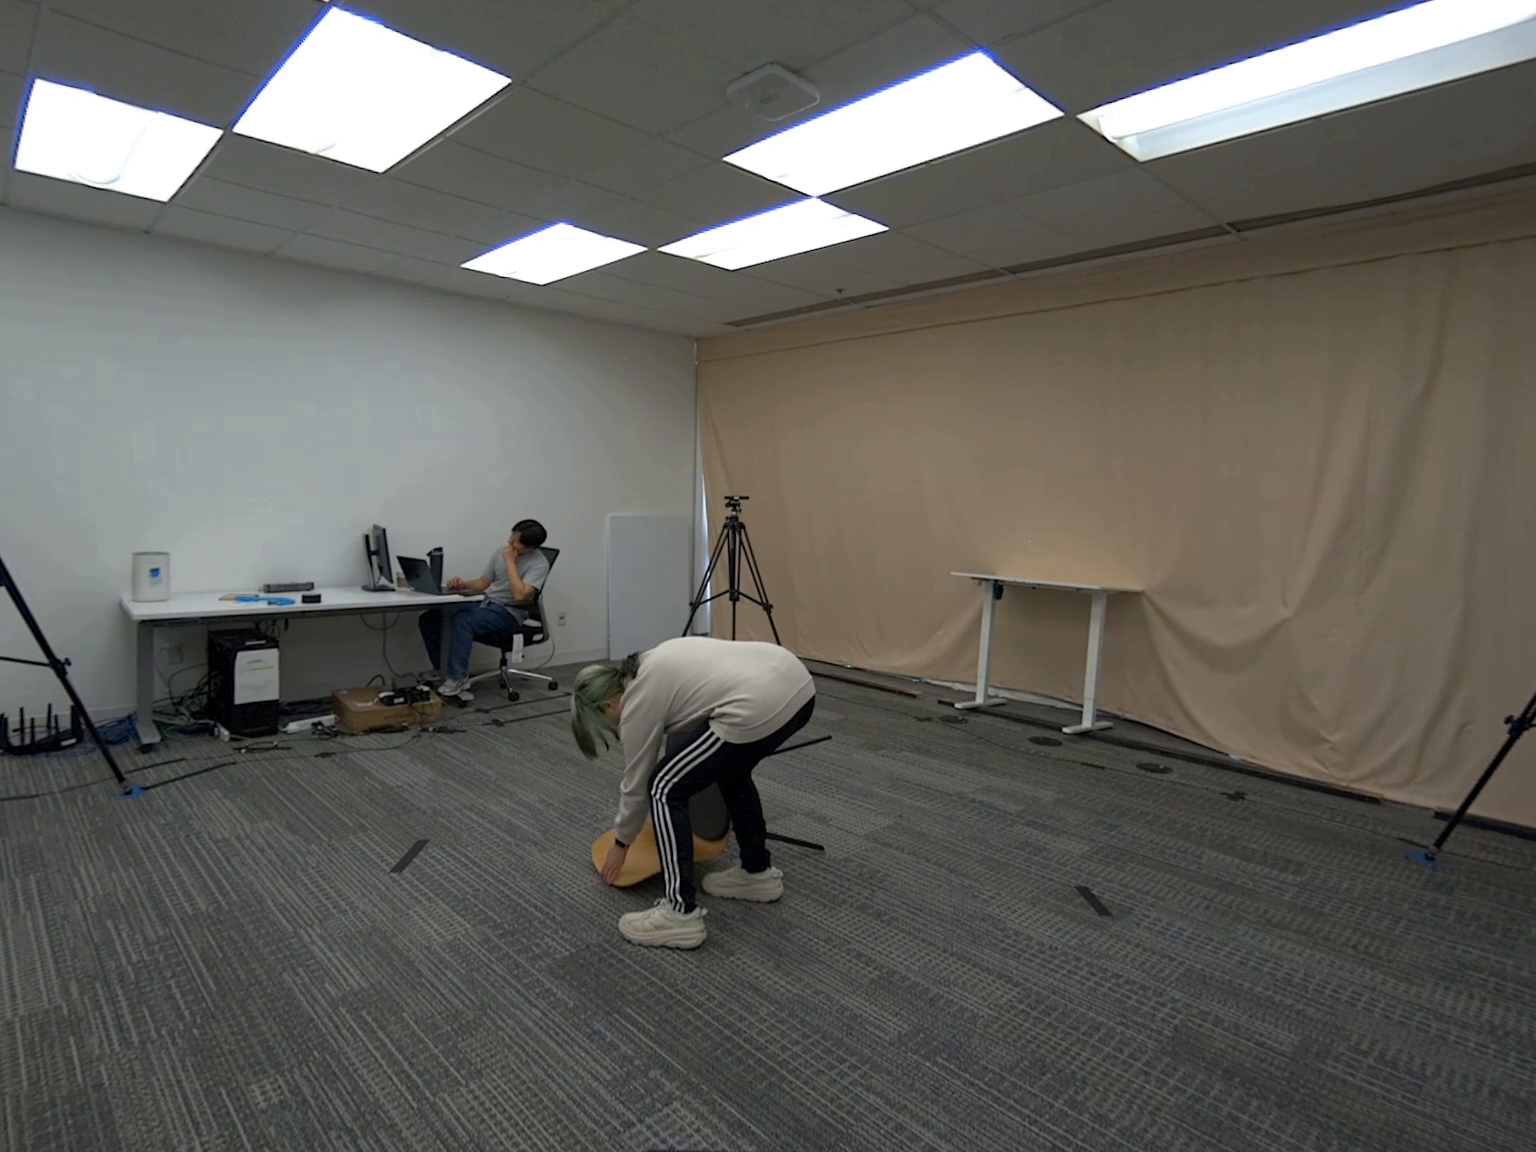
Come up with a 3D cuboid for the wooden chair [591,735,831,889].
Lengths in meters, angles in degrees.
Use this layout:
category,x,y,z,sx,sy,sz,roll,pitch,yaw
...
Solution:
category,x,y,z,sx,sy,sz,roll,pitch,yaw
wooden chair,-0.240,0.825,3.263,0.858,0.522,0.489,-3,4,-37
